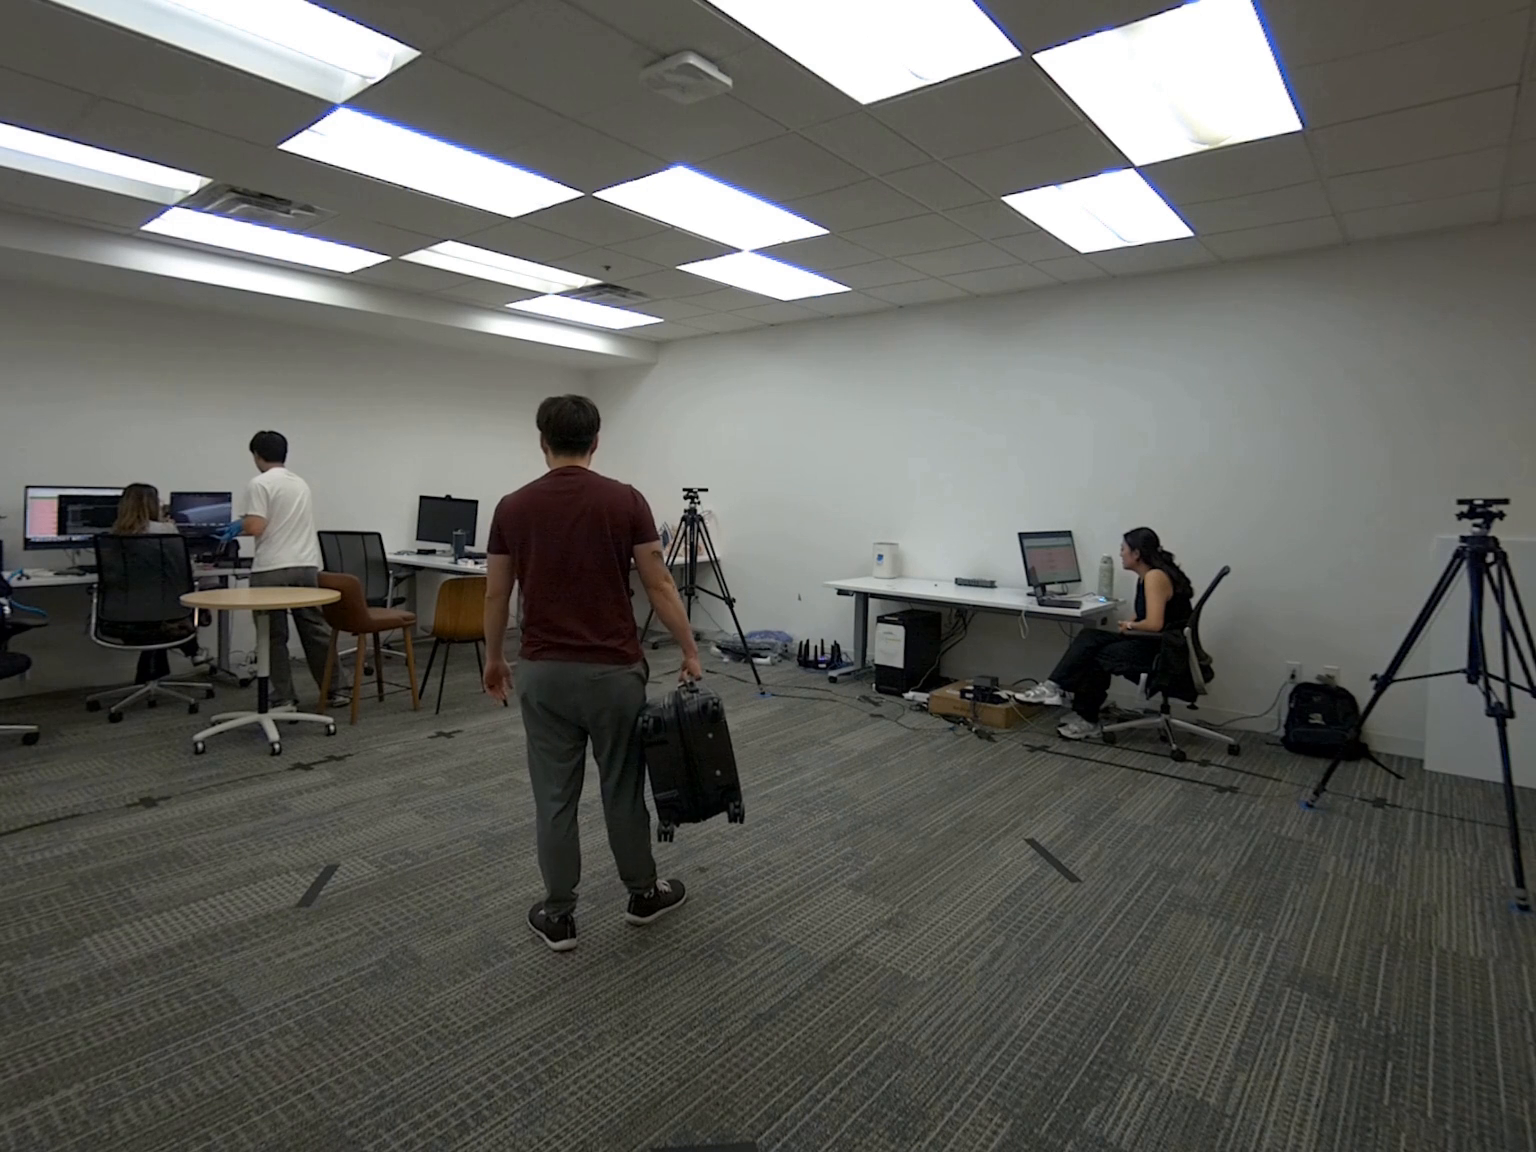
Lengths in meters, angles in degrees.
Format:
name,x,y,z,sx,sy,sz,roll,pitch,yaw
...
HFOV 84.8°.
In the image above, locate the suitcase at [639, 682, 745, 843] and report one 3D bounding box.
name,x,y,z,sx,sy,sz,roll,pitch,yaw
suitcase,-0.281,0.548,2.857,0.255,0.385,0.982,-9,-1,-8
